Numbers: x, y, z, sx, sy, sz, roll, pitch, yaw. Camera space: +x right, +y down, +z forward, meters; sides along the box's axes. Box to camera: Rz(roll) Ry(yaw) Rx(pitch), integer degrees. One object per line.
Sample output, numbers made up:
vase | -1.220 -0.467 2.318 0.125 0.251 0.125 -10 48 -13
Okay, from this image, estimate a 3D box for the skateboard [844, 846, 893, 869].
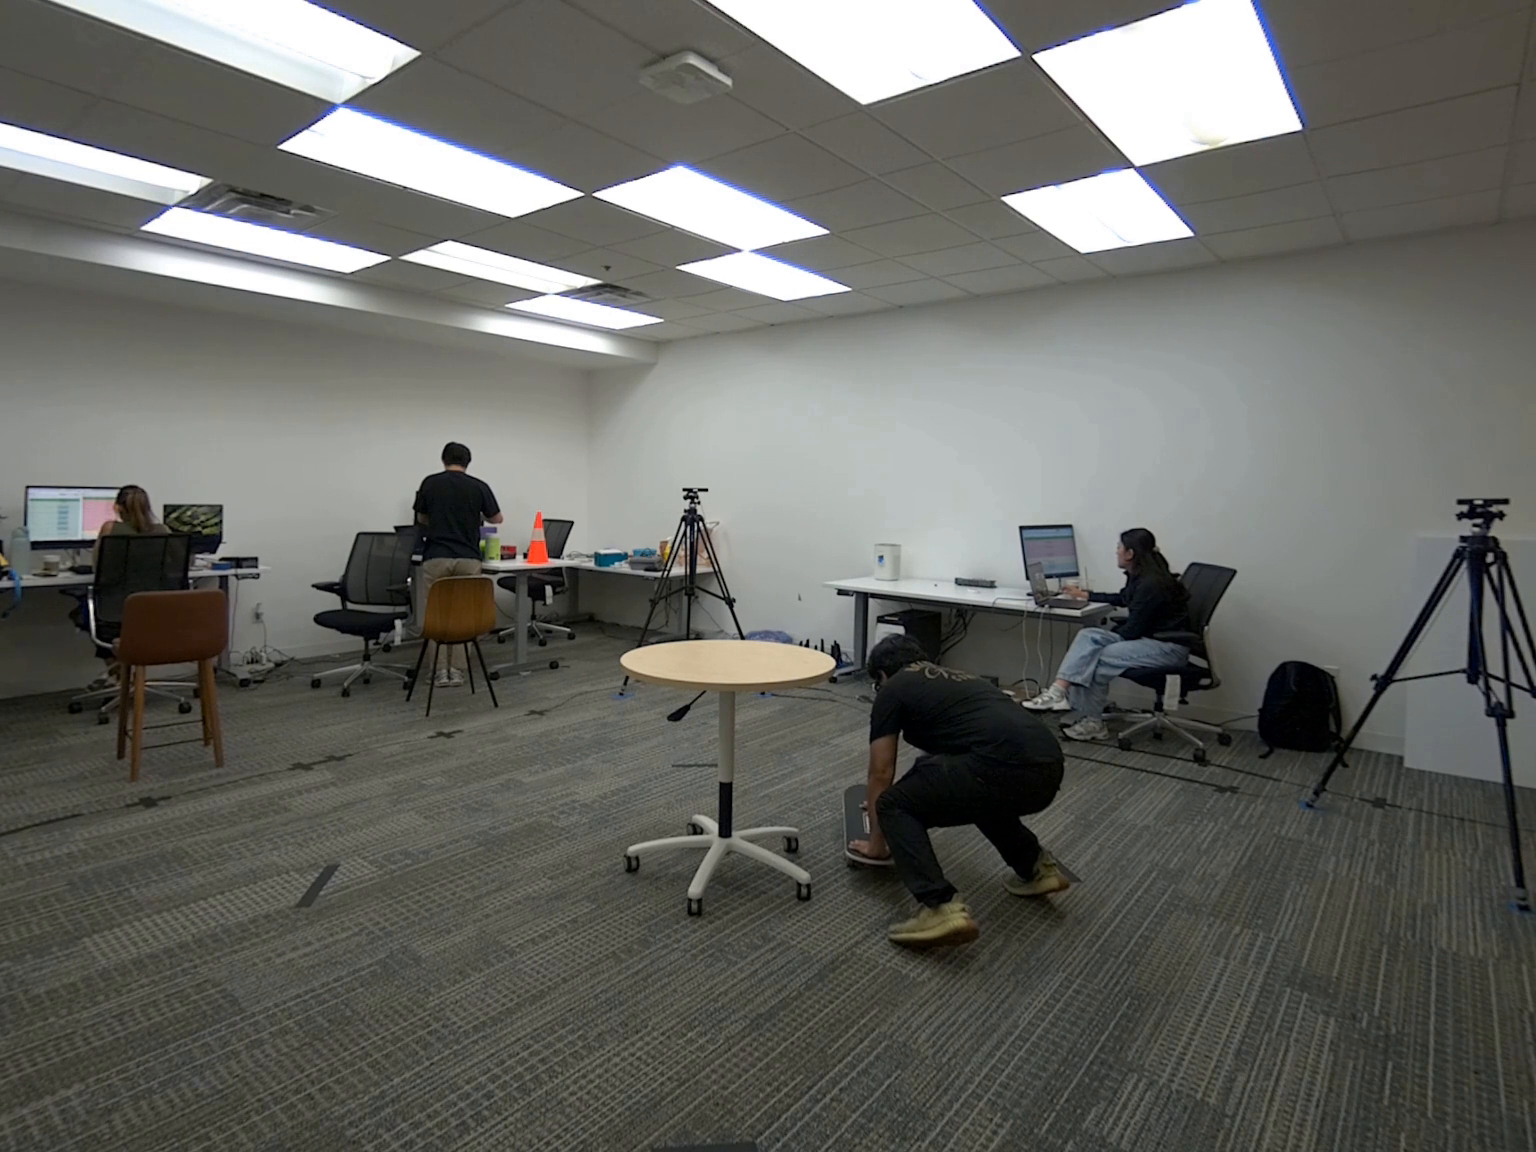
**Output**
skateboard | 0.388 0.999 3.354 0.195 0.110 0.783 3 6 4
